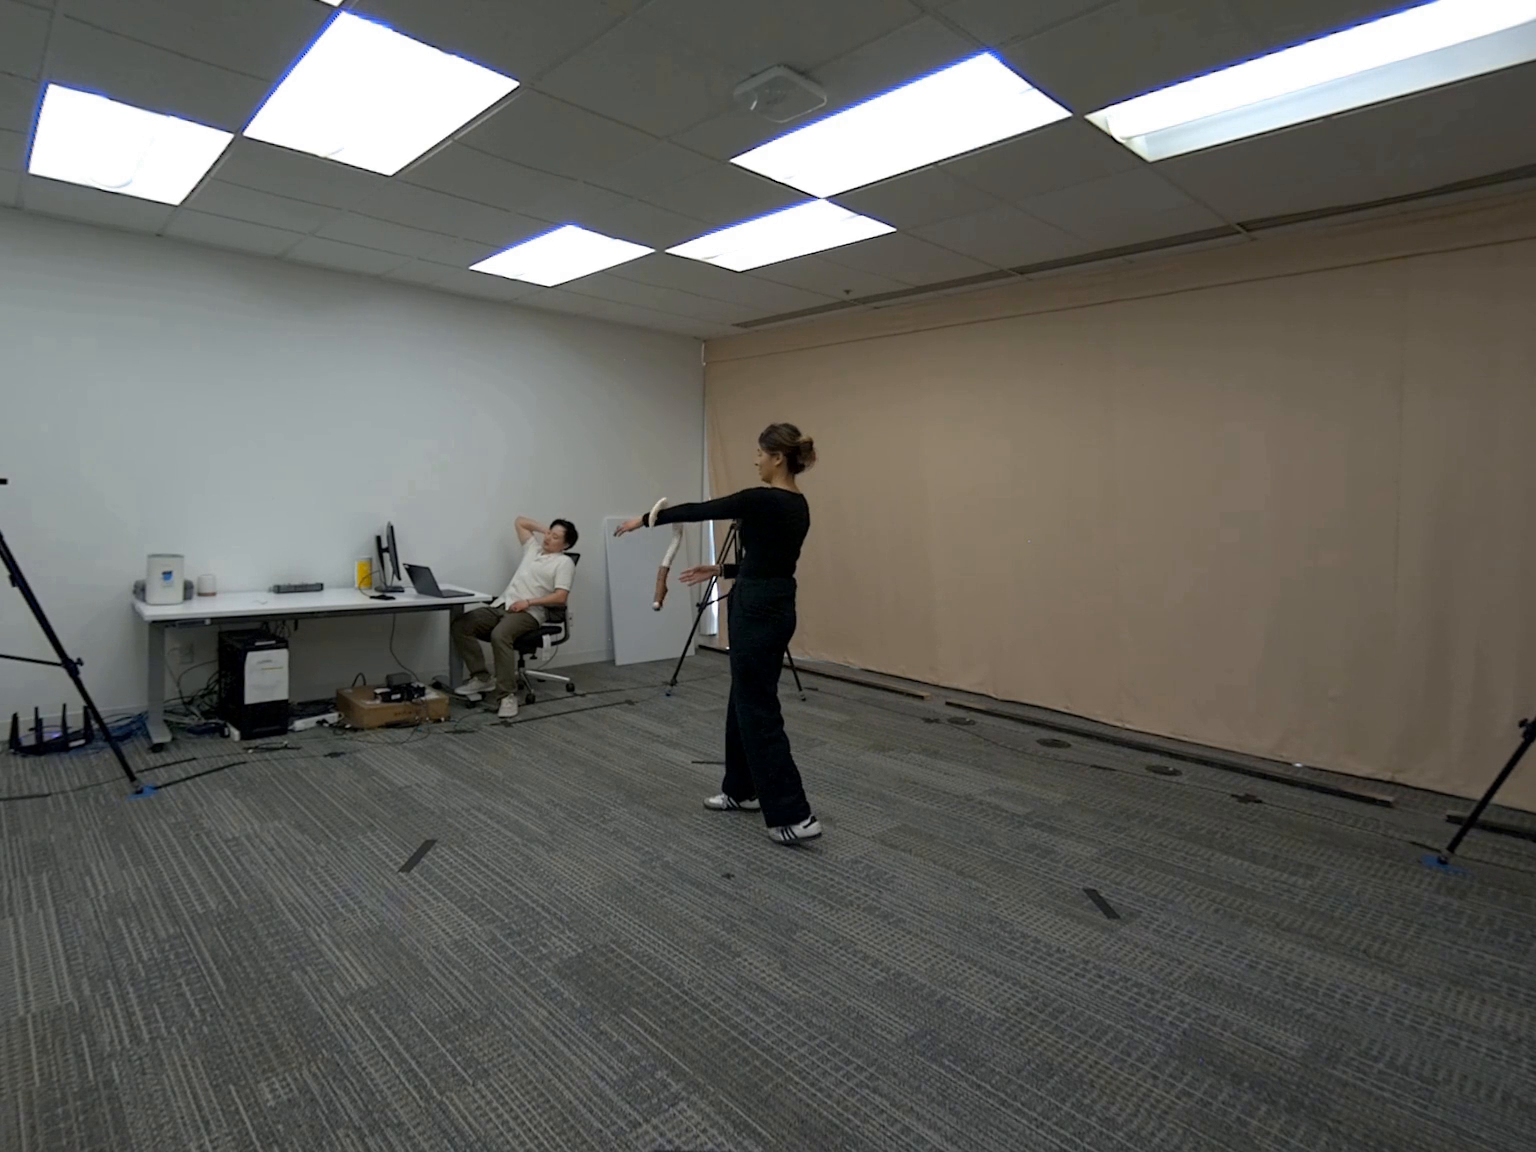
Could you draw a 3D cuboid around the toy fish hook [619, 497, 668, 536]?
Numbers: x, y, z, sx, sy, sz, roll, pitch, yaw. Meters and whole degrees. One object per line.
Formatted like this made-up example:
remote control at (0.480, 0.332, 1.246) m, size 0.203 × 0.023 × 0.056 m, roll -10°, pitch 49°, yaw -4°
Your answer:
toy fish hook at (-0.452, -0.104, 3.548) m, size 0.049 × 0.515 × 0.217 m, roll -15°, pitch -38°, yaw 30°
